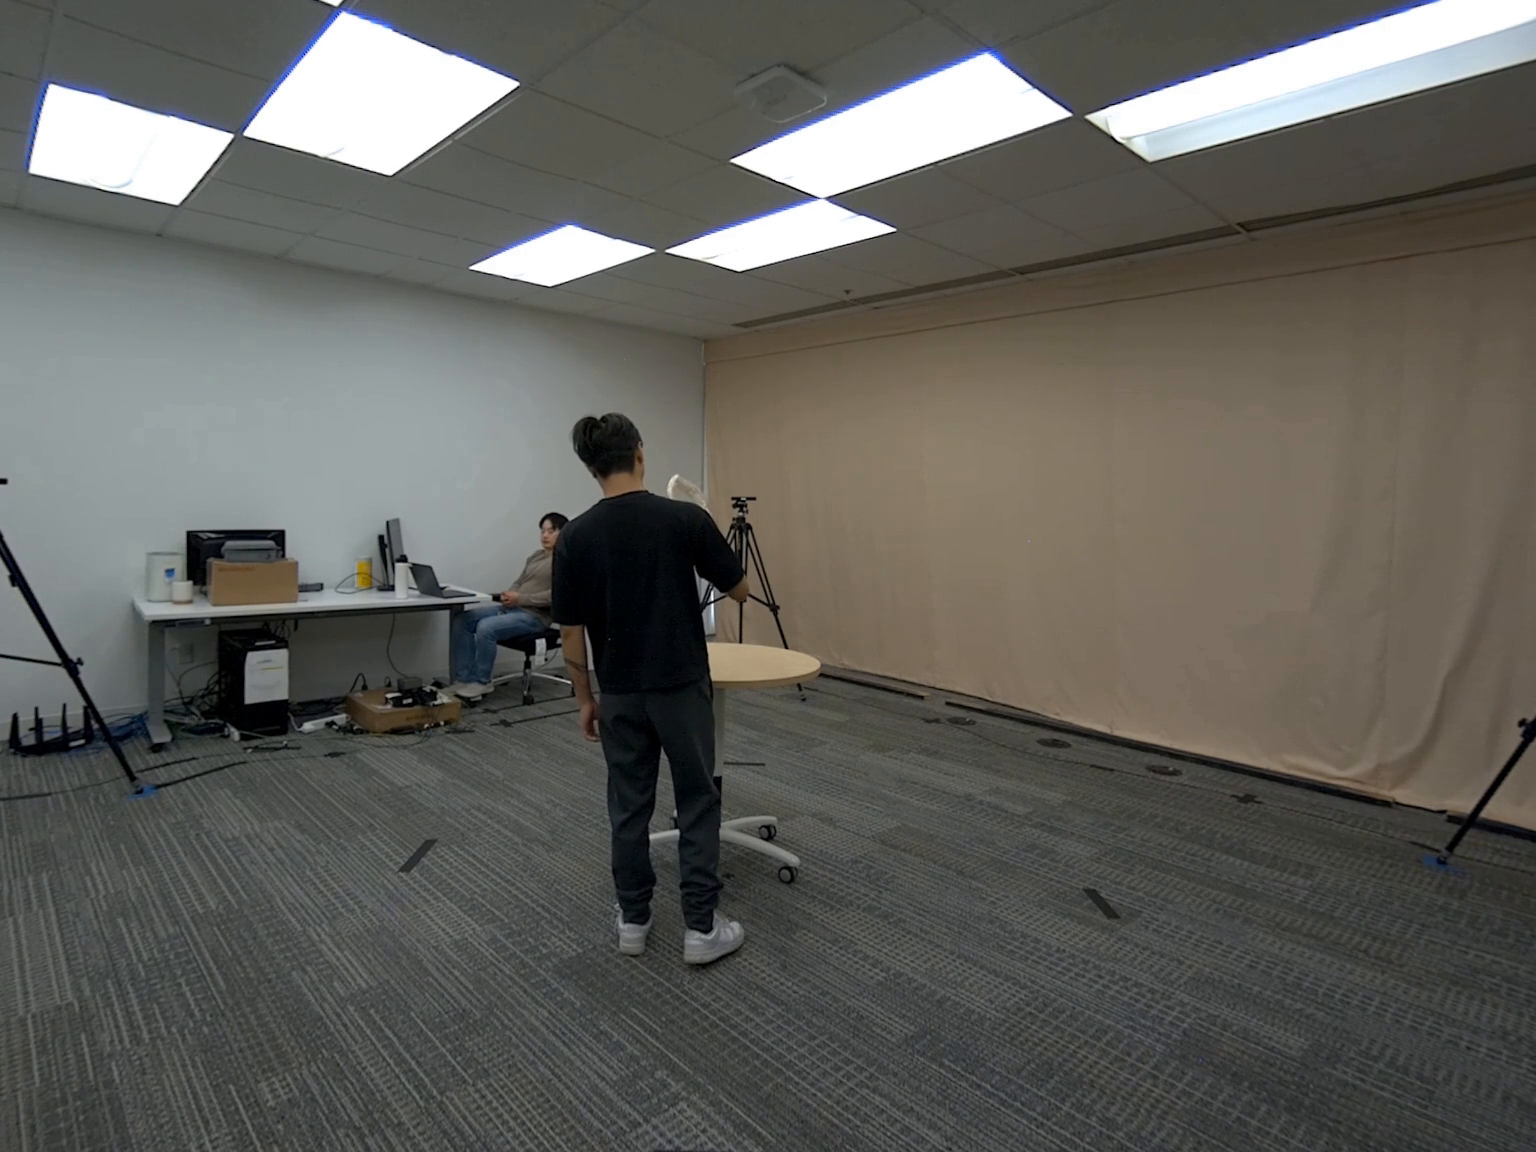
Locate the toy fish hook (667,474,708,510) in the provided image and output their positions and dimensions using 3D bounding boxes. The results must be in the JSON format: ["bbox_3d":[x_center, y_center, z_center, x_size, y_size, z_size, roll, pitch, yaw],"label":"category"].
[{"bbox_3d":[-0.269,-0.169,2.976,0.048,0.520,0.218,-38,-49,25],"label":"toy fish hook"}]
